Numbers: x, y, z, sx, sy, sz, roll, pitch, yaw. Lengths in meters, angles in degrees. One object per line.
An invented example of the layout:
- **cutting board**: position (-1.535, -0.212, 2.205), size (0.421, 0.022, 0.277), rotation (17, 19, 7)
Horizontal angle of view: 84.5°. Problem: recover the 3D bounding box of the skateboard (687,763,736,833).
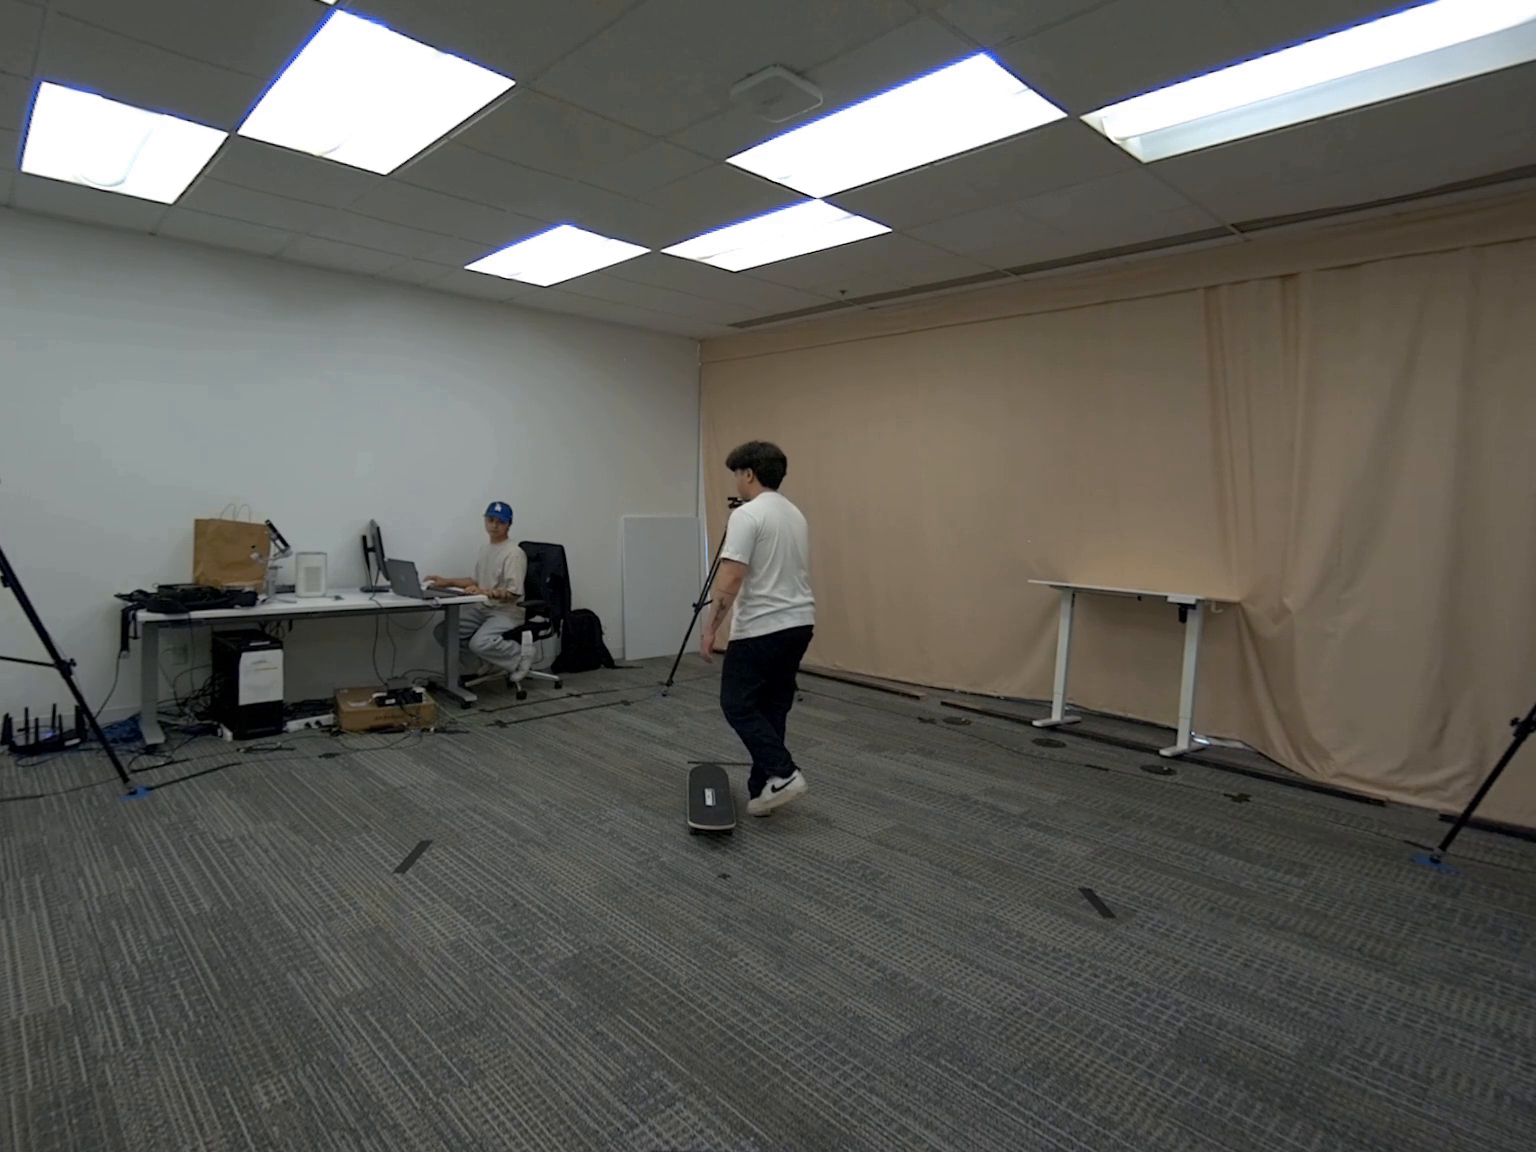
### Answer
- **skateboard**: position (-0.263, 0.994, 3.683), size (0.193, 0.110, 0.791), rotation (0, 5, -6)
